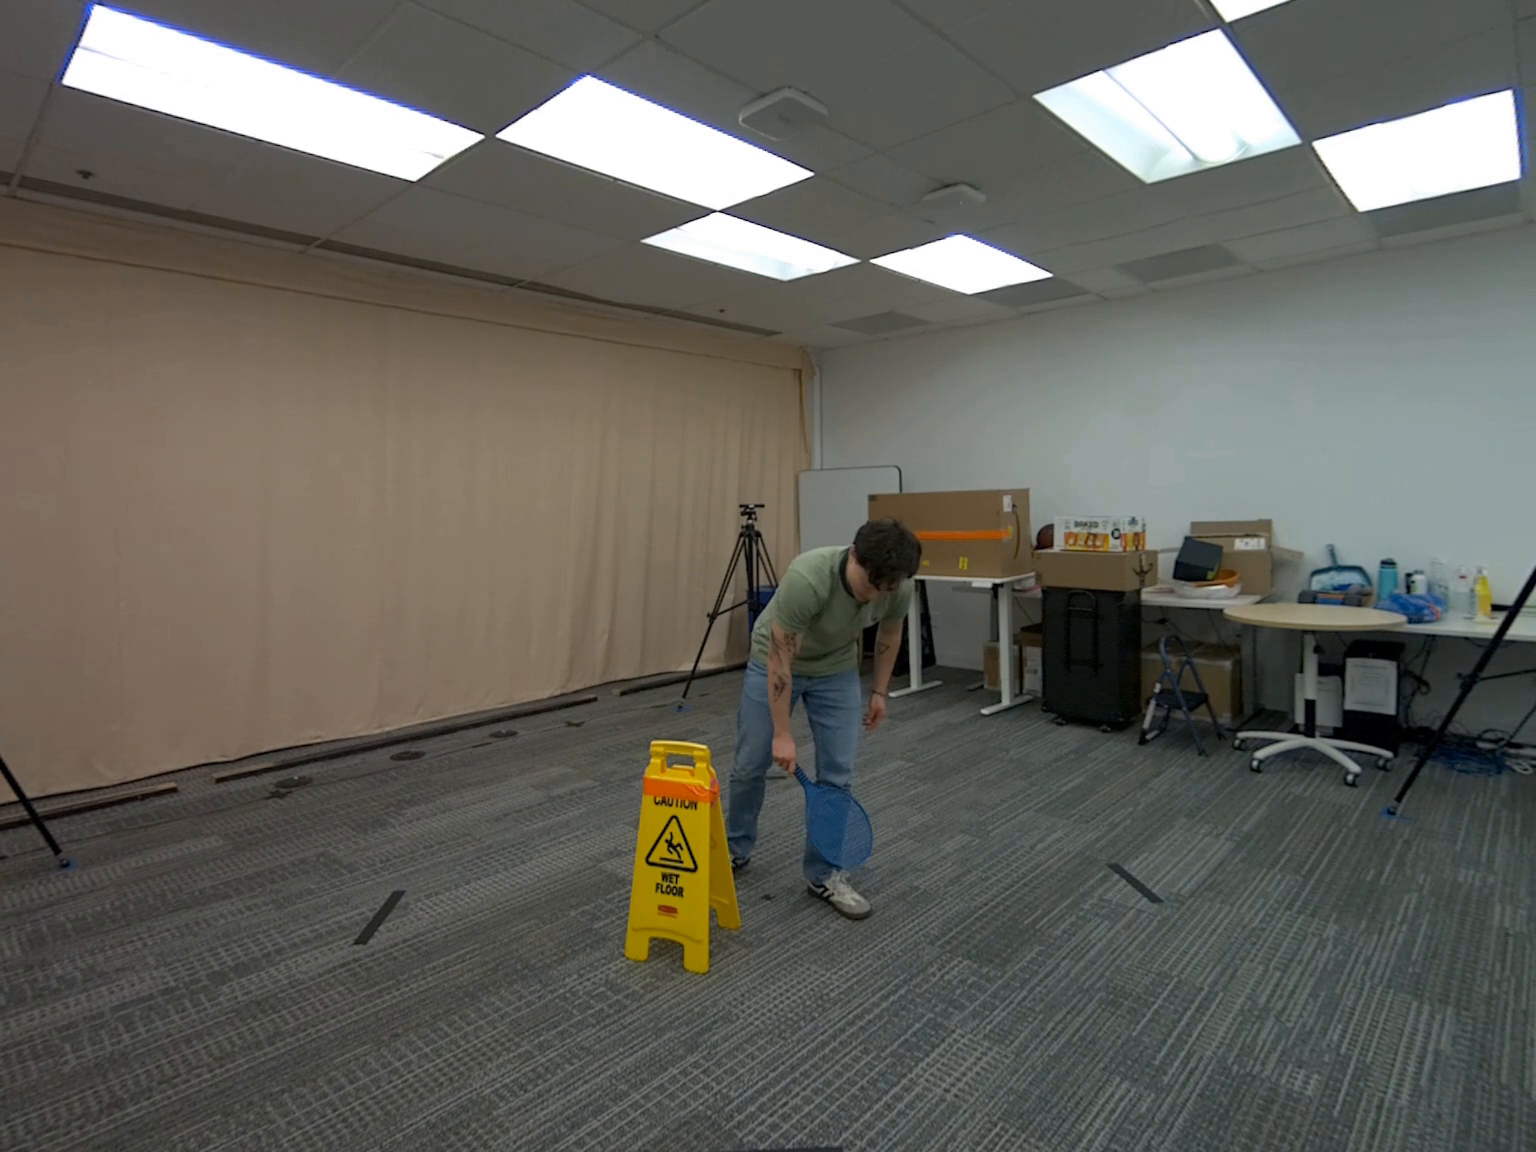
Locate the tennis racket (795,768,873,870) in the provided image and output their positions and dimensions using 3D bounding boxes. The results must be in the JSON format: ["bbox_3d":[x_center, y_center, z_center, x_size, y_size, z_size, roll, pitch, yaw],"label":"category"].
[{"bbox_3d":[0.193,0.766,2.776,0.211,0.432,0.032,-37,2,-26],"label":"tennis racket"}]
